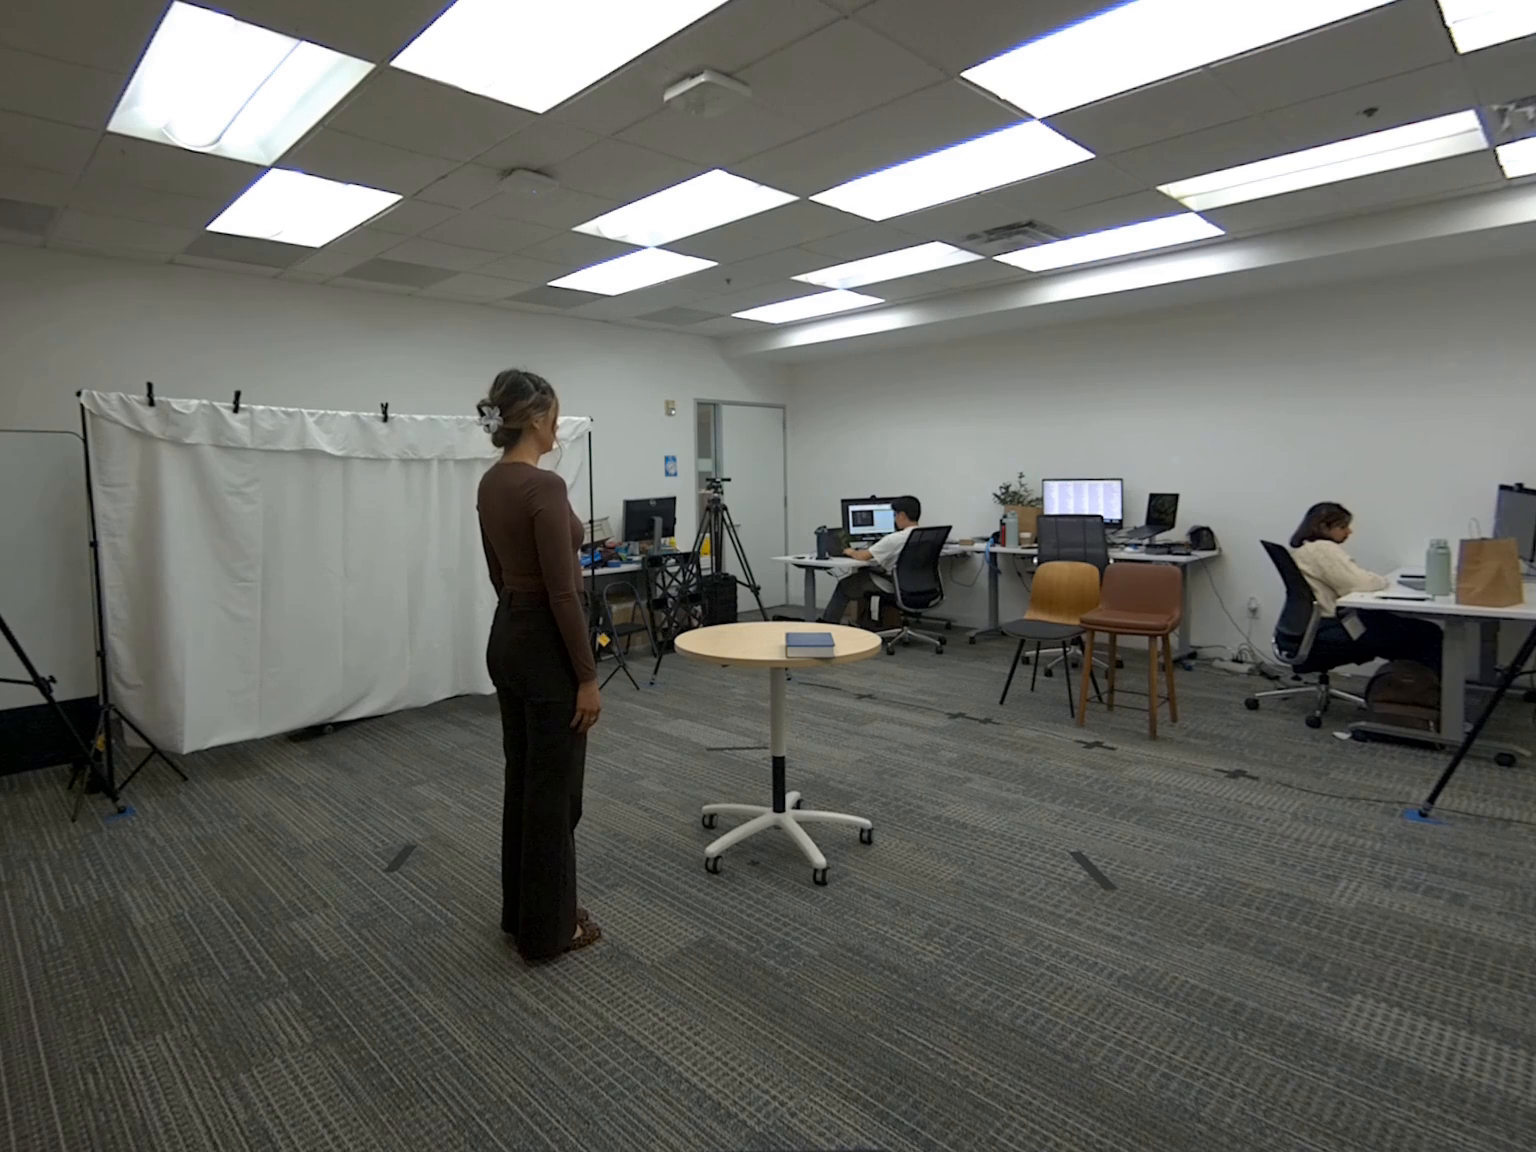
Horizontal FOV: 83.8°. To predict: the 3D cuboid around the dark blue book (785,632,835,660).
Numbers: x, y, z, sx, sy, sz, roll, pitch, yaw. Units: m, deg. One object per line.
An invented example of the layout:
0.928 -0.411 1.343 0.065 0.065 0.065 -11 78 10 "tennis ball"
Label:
0.147 0.237 2.942 0.164 0.045 0.245 -1 6 1 "dark blue book"
